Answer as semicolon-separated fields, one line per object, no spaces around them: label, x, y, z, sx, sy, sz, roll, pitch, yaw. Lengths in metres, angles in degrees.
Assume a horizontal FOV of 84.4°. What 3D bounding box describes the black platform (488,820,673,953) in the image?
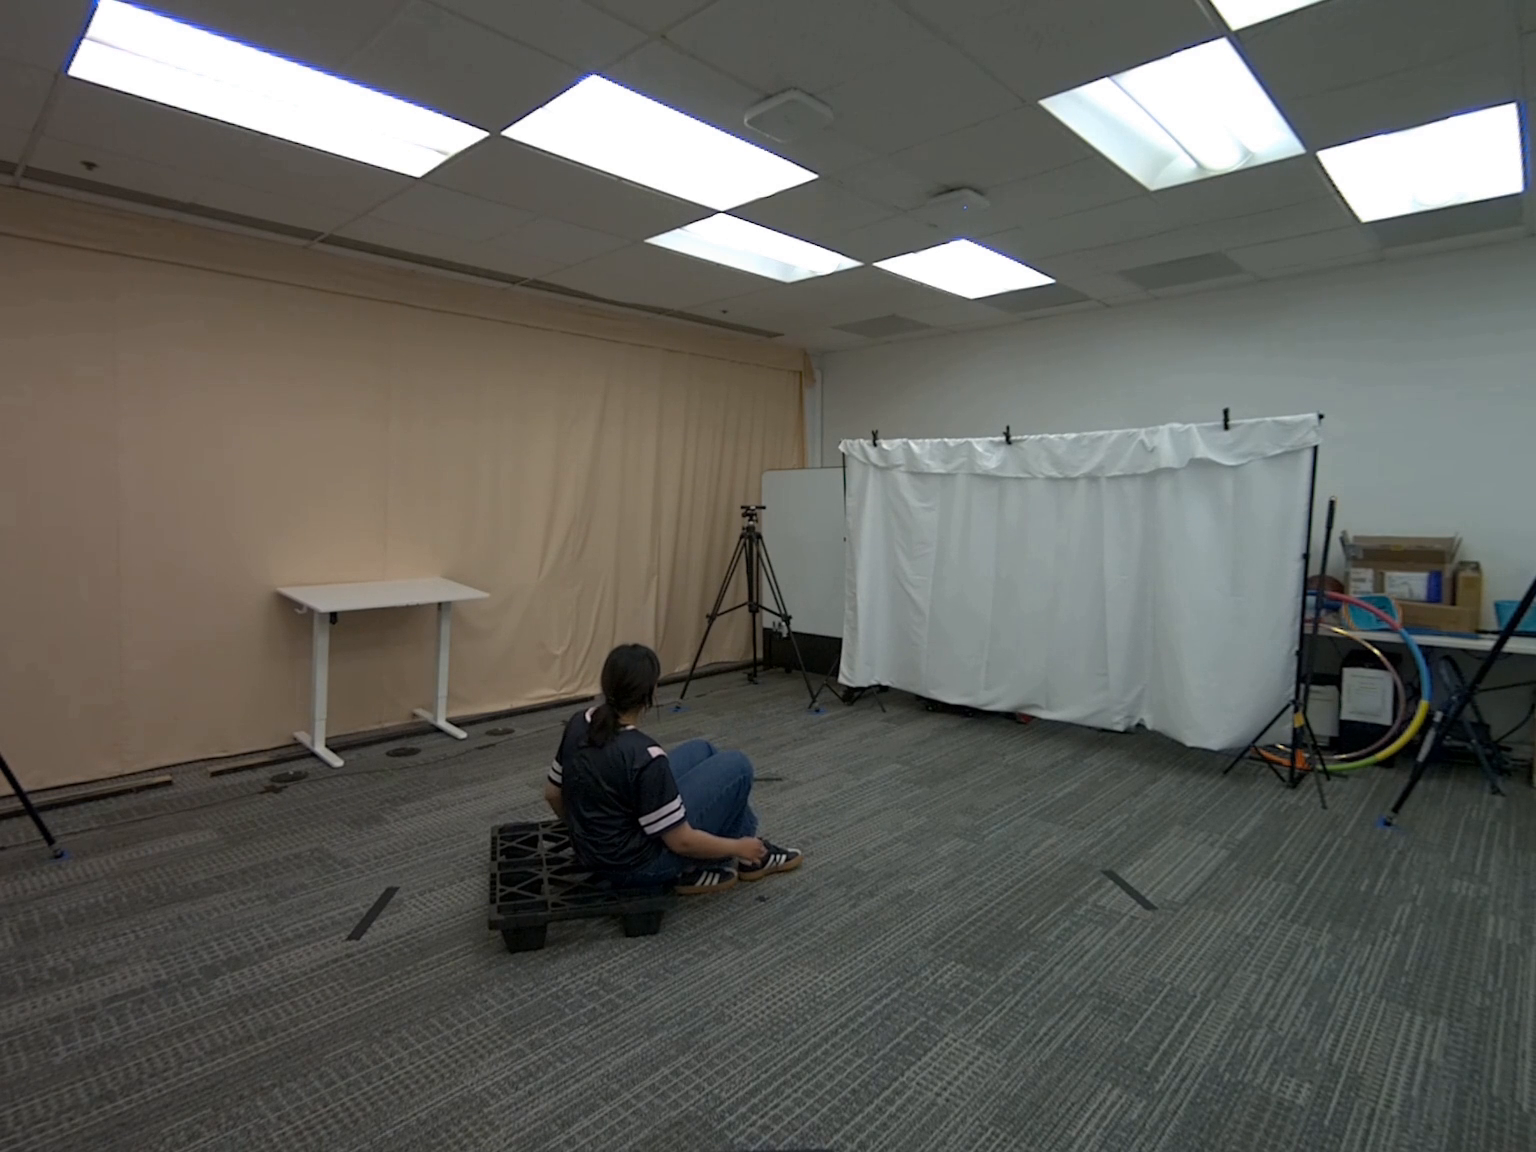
black platform;-0.698;1.081;3.039;0.596;0.143;0.820;-2;6;-15
